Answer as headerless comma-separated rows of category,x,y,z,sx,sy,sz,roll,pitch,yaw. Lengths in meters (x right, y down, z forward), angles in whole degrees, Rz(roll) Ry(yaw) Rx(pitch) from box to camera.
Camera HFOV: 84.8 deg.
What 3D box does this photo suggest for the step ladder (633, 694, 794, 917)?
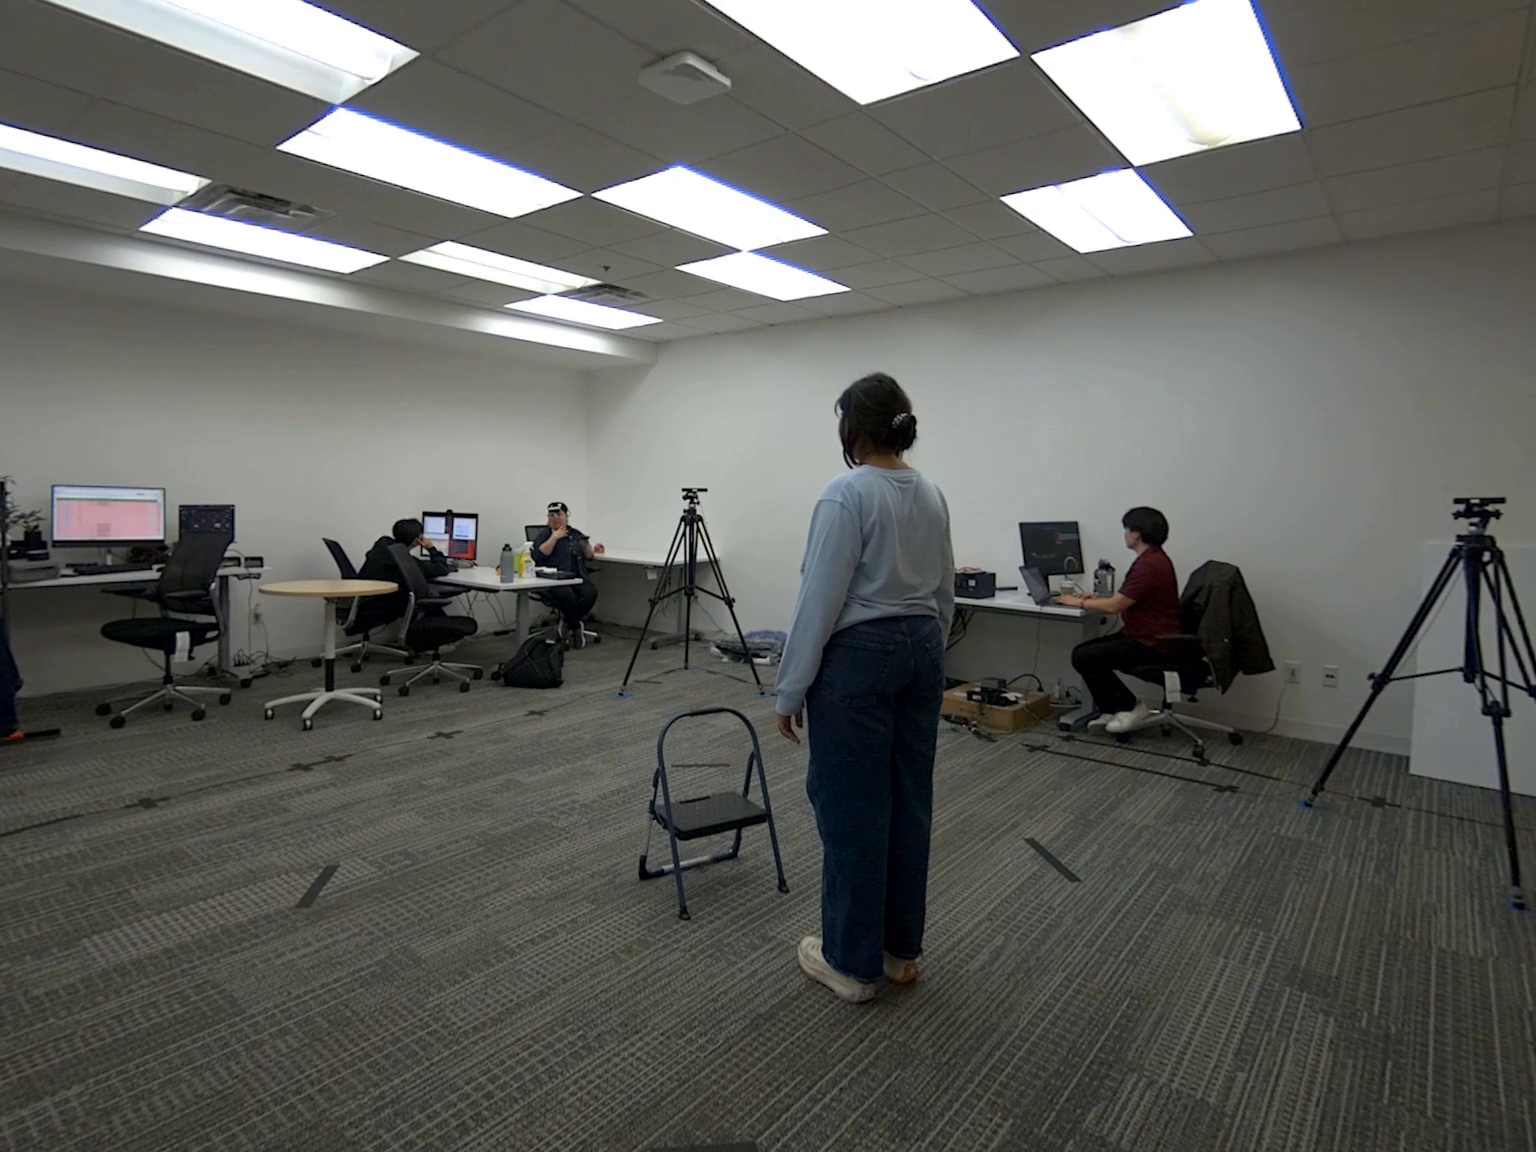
step ladder,-0.196,0.776,2.974,0.418,0.604,0.360,0,4,-34
